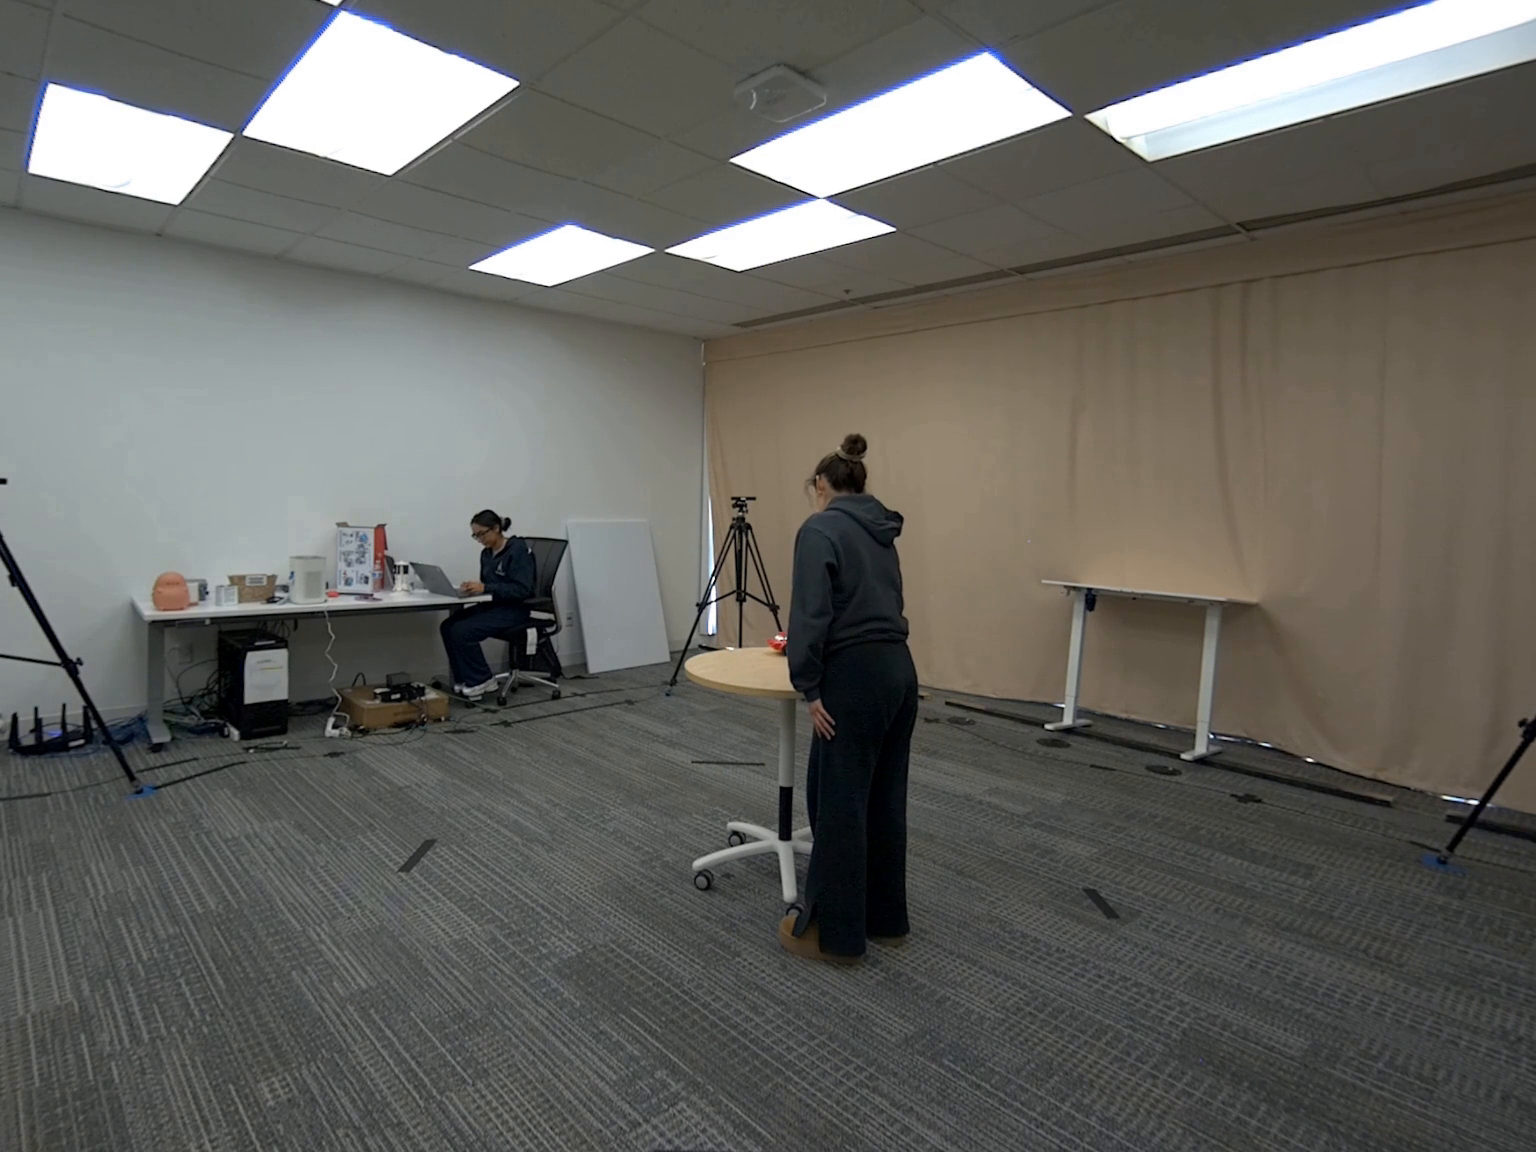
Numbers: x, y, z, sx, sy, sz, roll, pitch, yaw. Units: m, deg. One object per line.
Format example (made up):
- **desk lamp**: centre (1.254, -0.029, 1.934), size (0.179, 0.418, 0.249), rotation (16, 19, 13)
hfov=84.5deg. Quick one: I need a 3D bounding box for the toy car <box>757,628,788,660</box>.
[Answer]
- **toy car**: centre (0.101, 0.279, 3.331), size (0.252, 0.083, 0.132), rotation (12, 3, -11)
